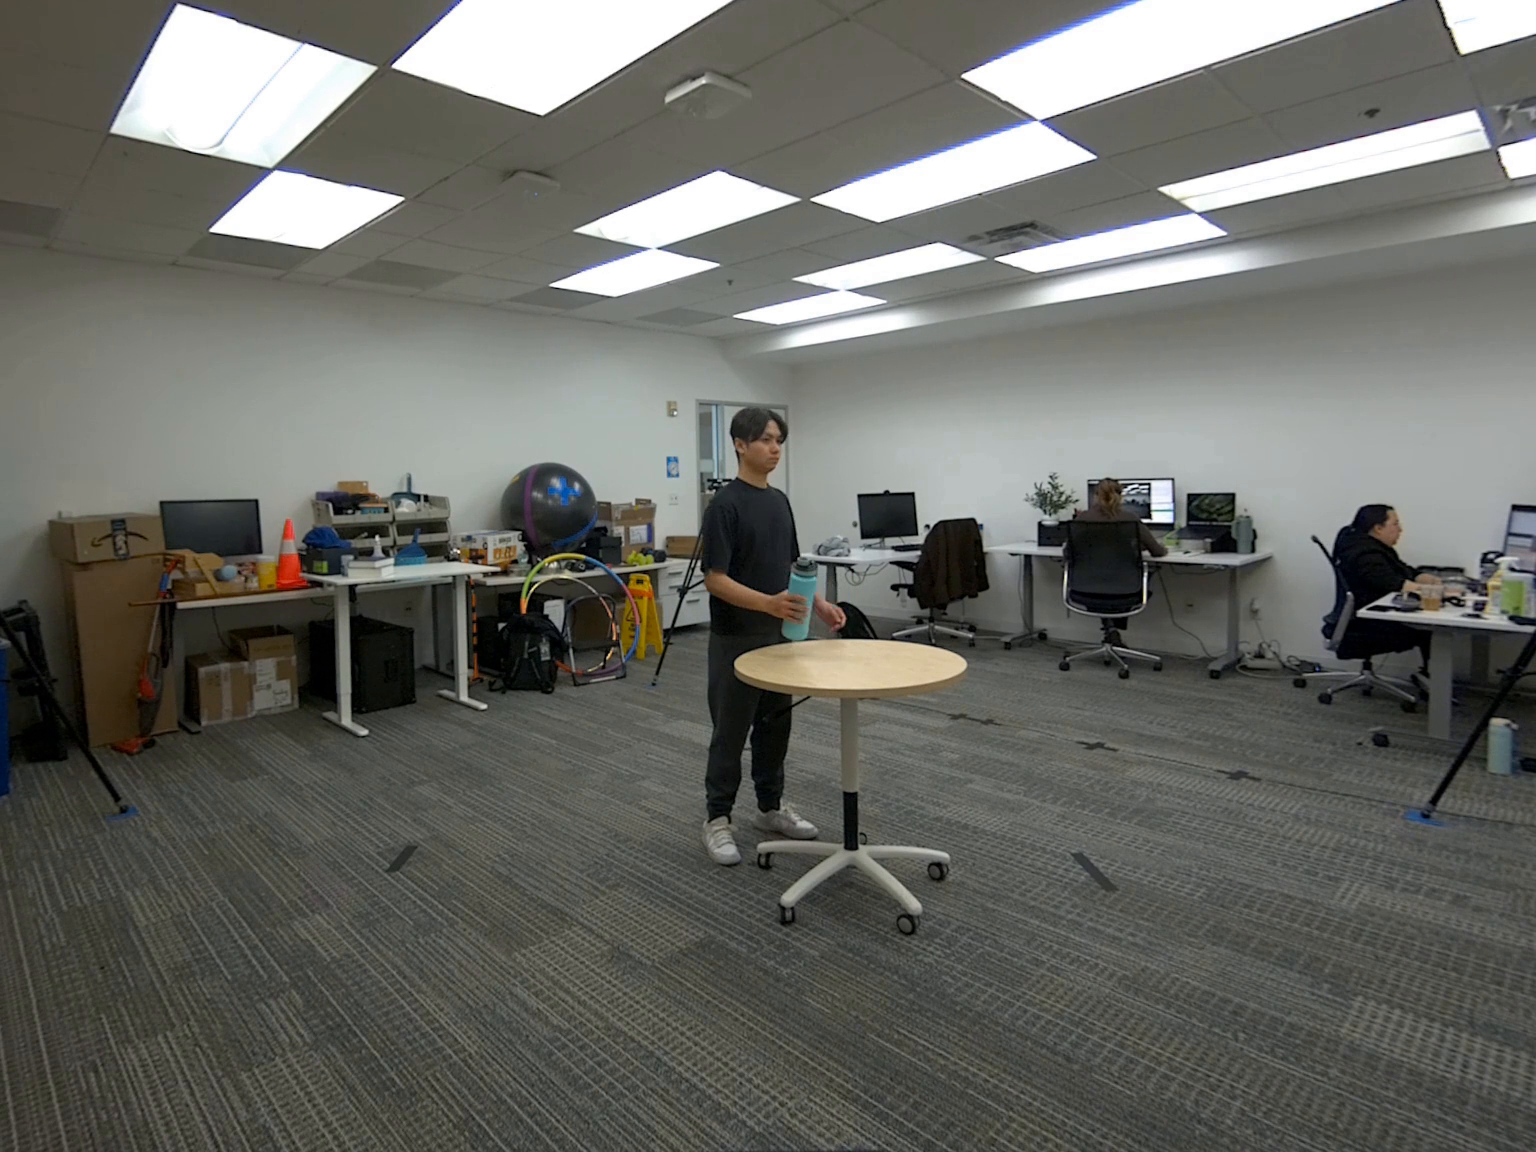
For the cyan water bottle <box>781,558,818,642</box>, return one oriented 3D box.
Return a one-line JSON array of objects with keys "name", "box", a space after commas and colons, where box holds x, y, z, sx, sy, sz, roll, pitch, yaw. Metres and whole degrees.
[{"name": "cyan water bottle", "box": [0.121, 0.068, 2.893, 0.092, 0.279, 0.094, 5, 18, -4]}]
